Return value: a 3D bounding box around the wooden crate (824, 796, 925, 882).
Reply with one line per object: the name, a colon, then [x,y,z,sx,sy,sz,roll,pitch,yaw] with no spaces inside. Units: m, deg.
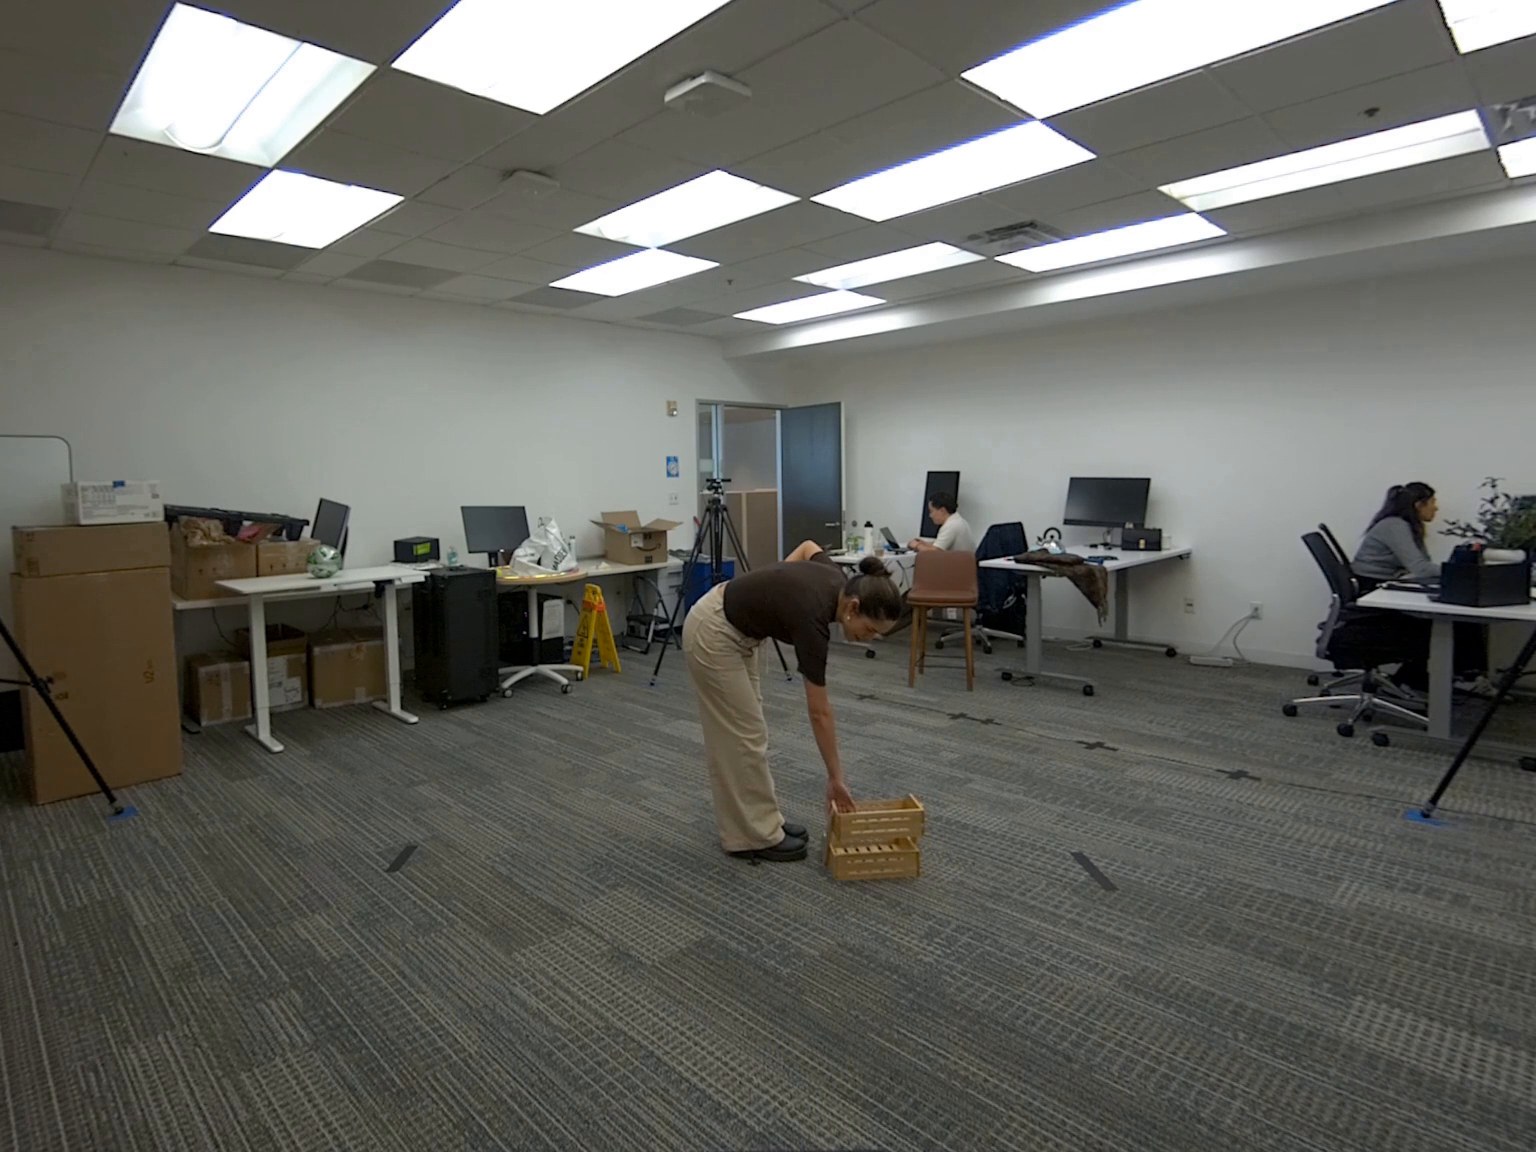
wooden crate: [0.369,0.910,3.052,0.323,0.272,0.305,-1,5,-6]
